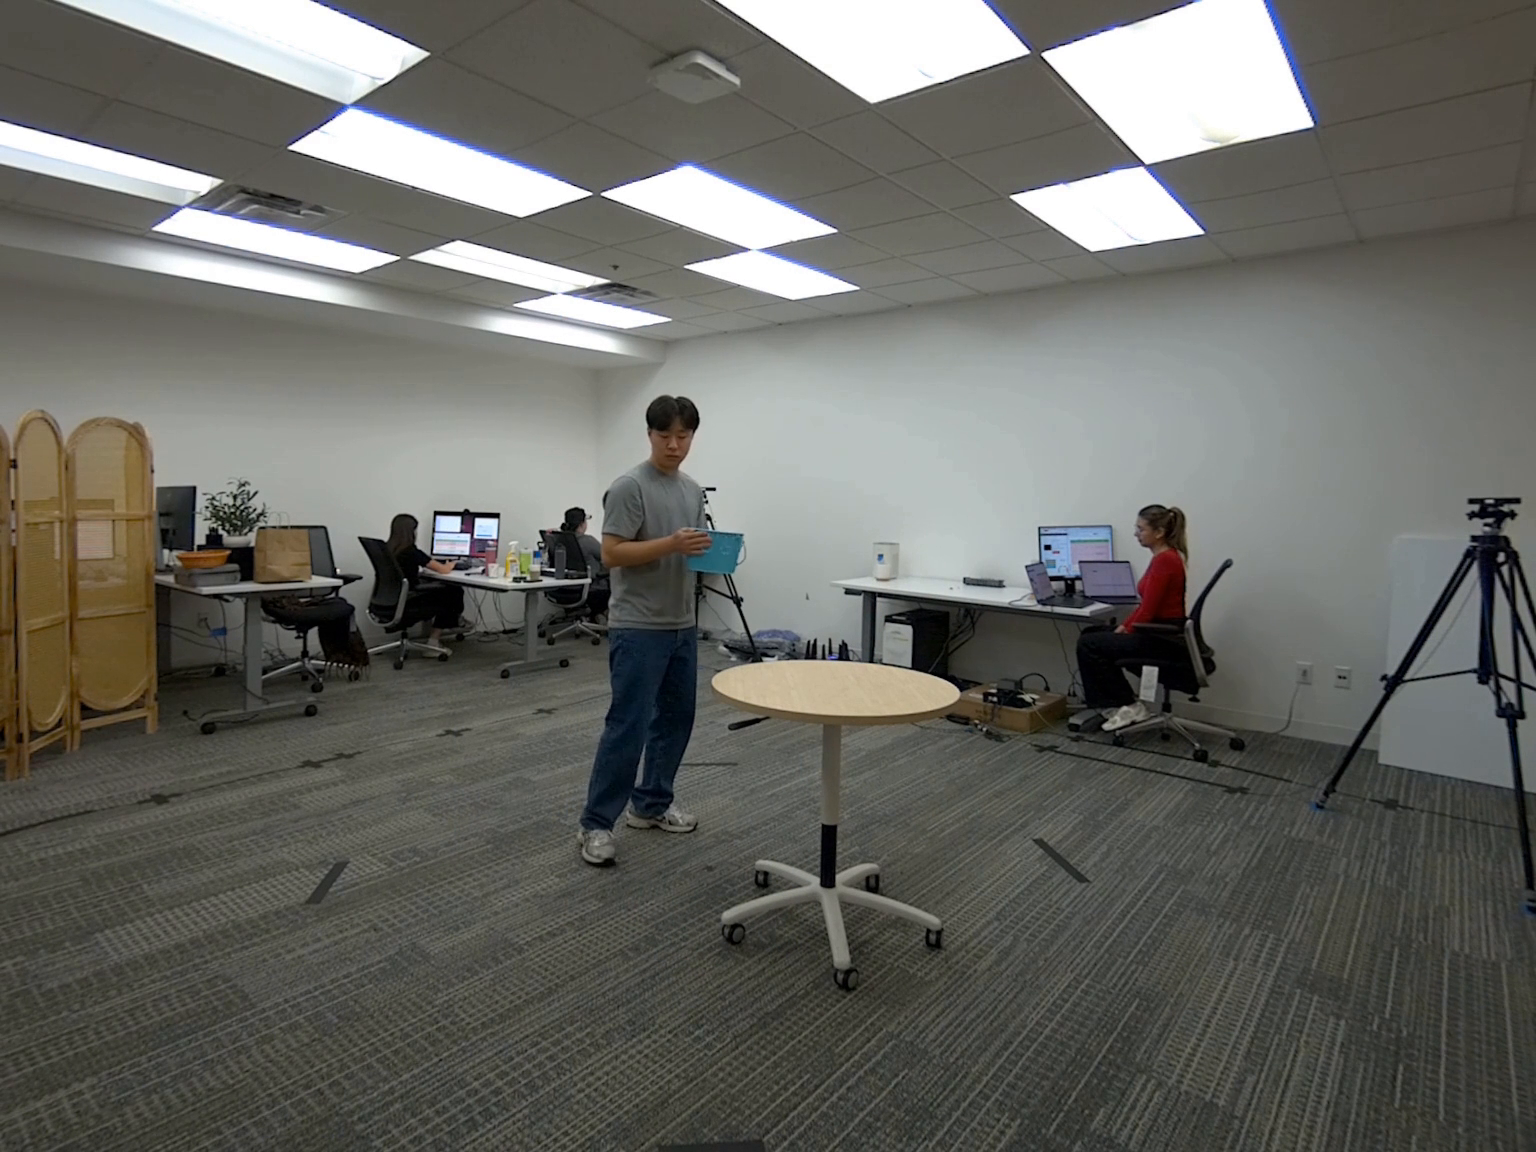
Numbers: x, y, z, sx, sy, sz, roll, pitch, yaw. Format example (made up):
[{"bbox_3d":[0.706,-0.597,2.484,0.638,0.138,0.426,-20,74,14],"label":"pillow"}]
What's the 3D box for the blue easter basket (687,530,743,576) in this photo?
[{"bbox_3d":[-0.234,-0.094,3.200,0.243,0.156,0.244,4,2,-2],"label":"blue easter basket"}]
